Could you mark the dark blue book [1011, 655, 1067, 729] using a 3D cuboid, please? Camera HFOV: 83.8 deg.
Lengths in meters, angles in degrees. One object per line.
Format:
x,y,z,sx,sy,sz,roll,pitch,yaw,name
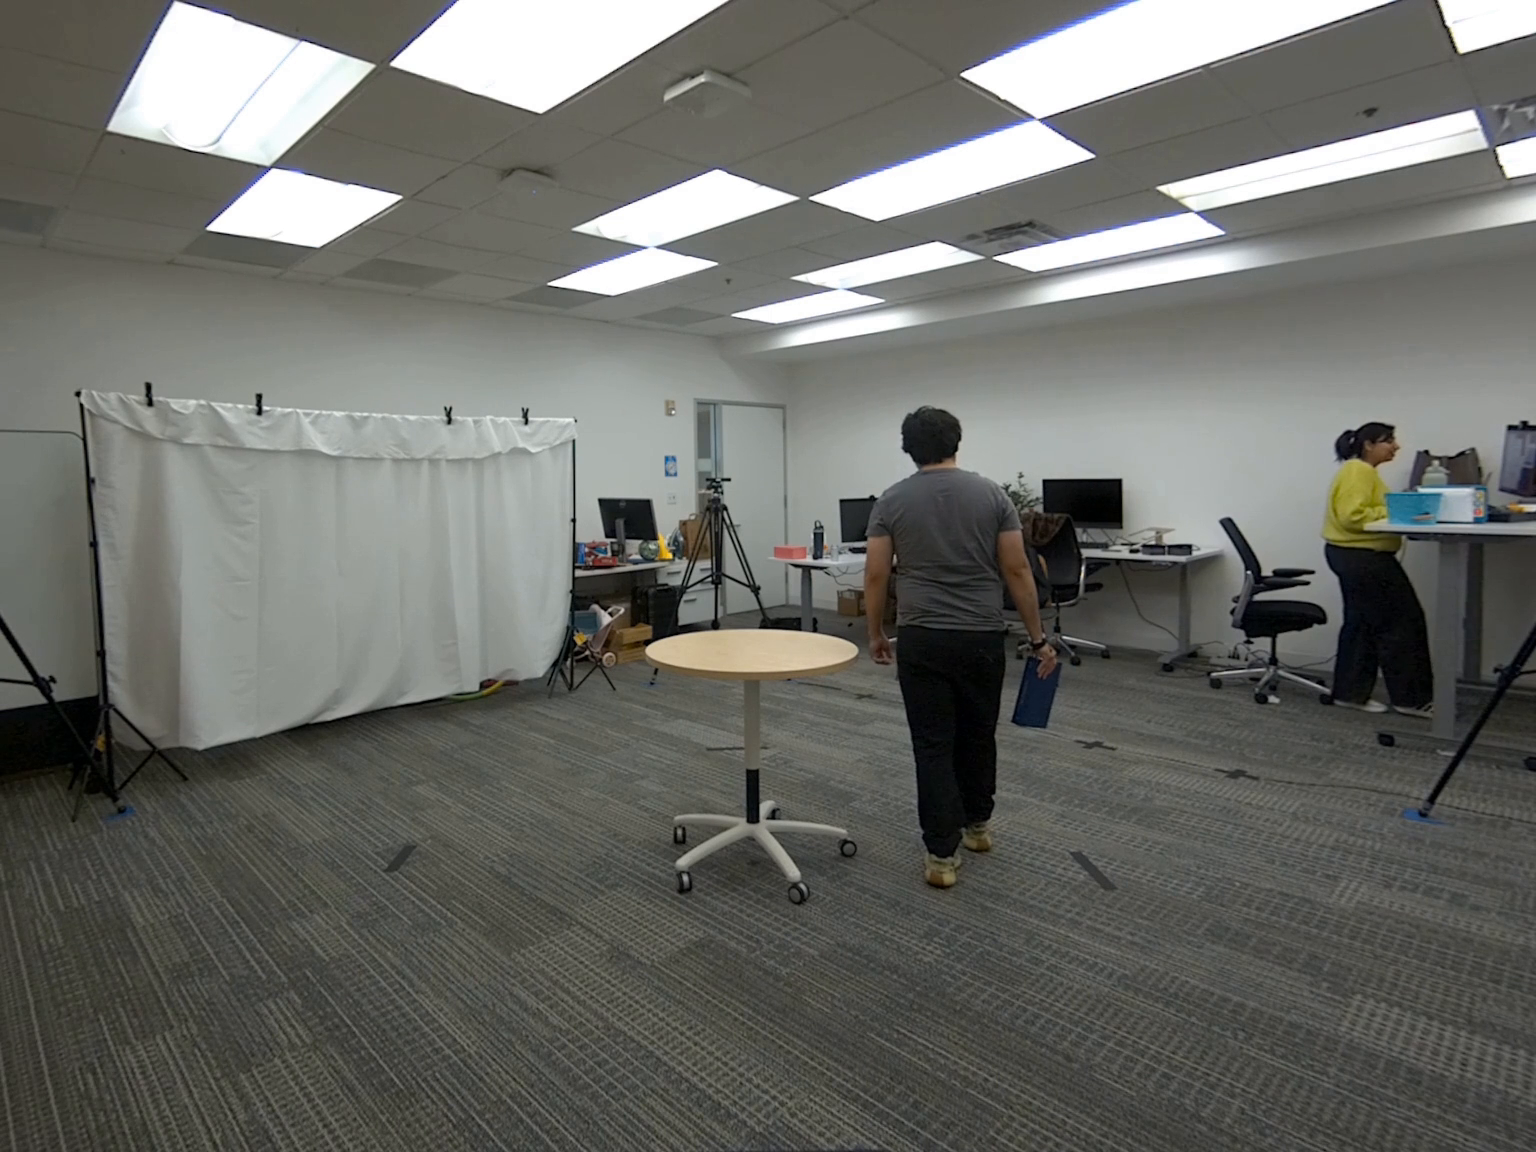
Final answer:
0.956,0.409,3.025,0.158,0.245,0.047,12,3,-39,dark blue book
